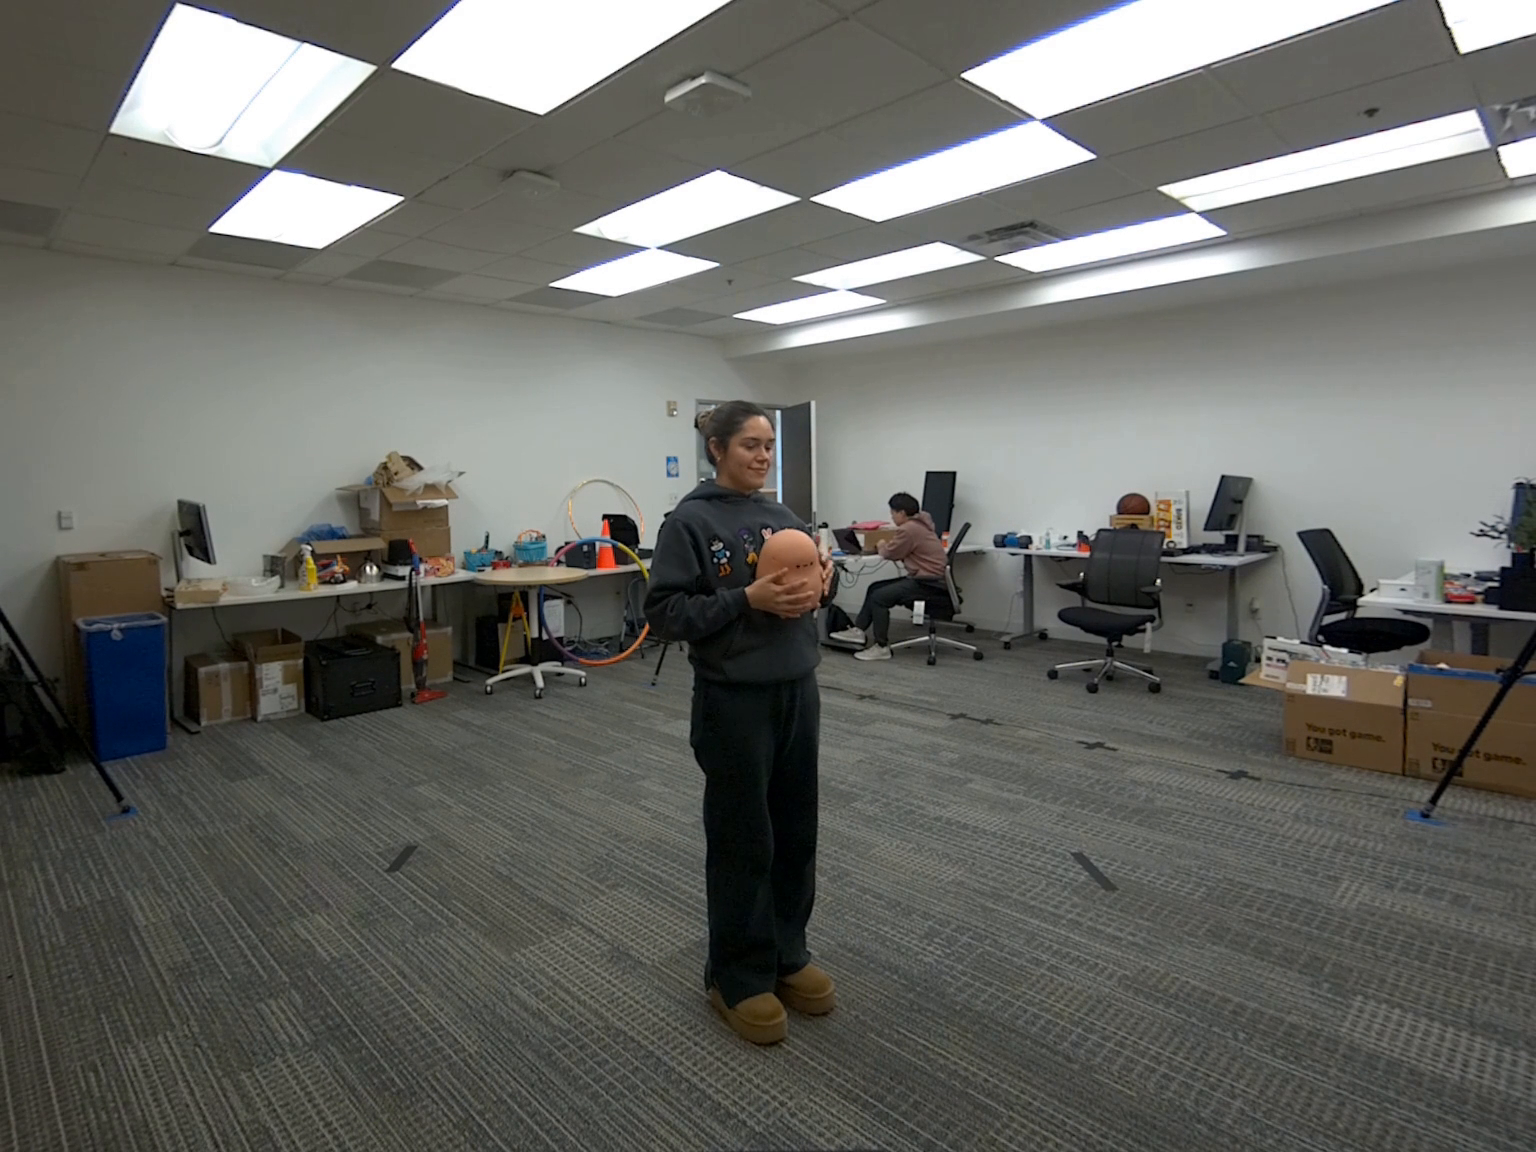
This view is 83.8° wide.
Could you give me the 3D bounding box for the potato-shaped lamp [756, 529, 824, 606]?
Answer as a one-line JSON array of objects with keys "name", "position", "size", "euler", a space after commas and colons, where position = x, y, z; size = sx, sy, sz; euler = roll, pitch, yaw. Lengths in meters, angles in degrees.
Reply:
[{"name": "potato-shaped lamp", "position": [0.053, -0.020, 2.126], "size": [0.162, 0.194, 0.178], "euler": [-12, 35, -26]}]
